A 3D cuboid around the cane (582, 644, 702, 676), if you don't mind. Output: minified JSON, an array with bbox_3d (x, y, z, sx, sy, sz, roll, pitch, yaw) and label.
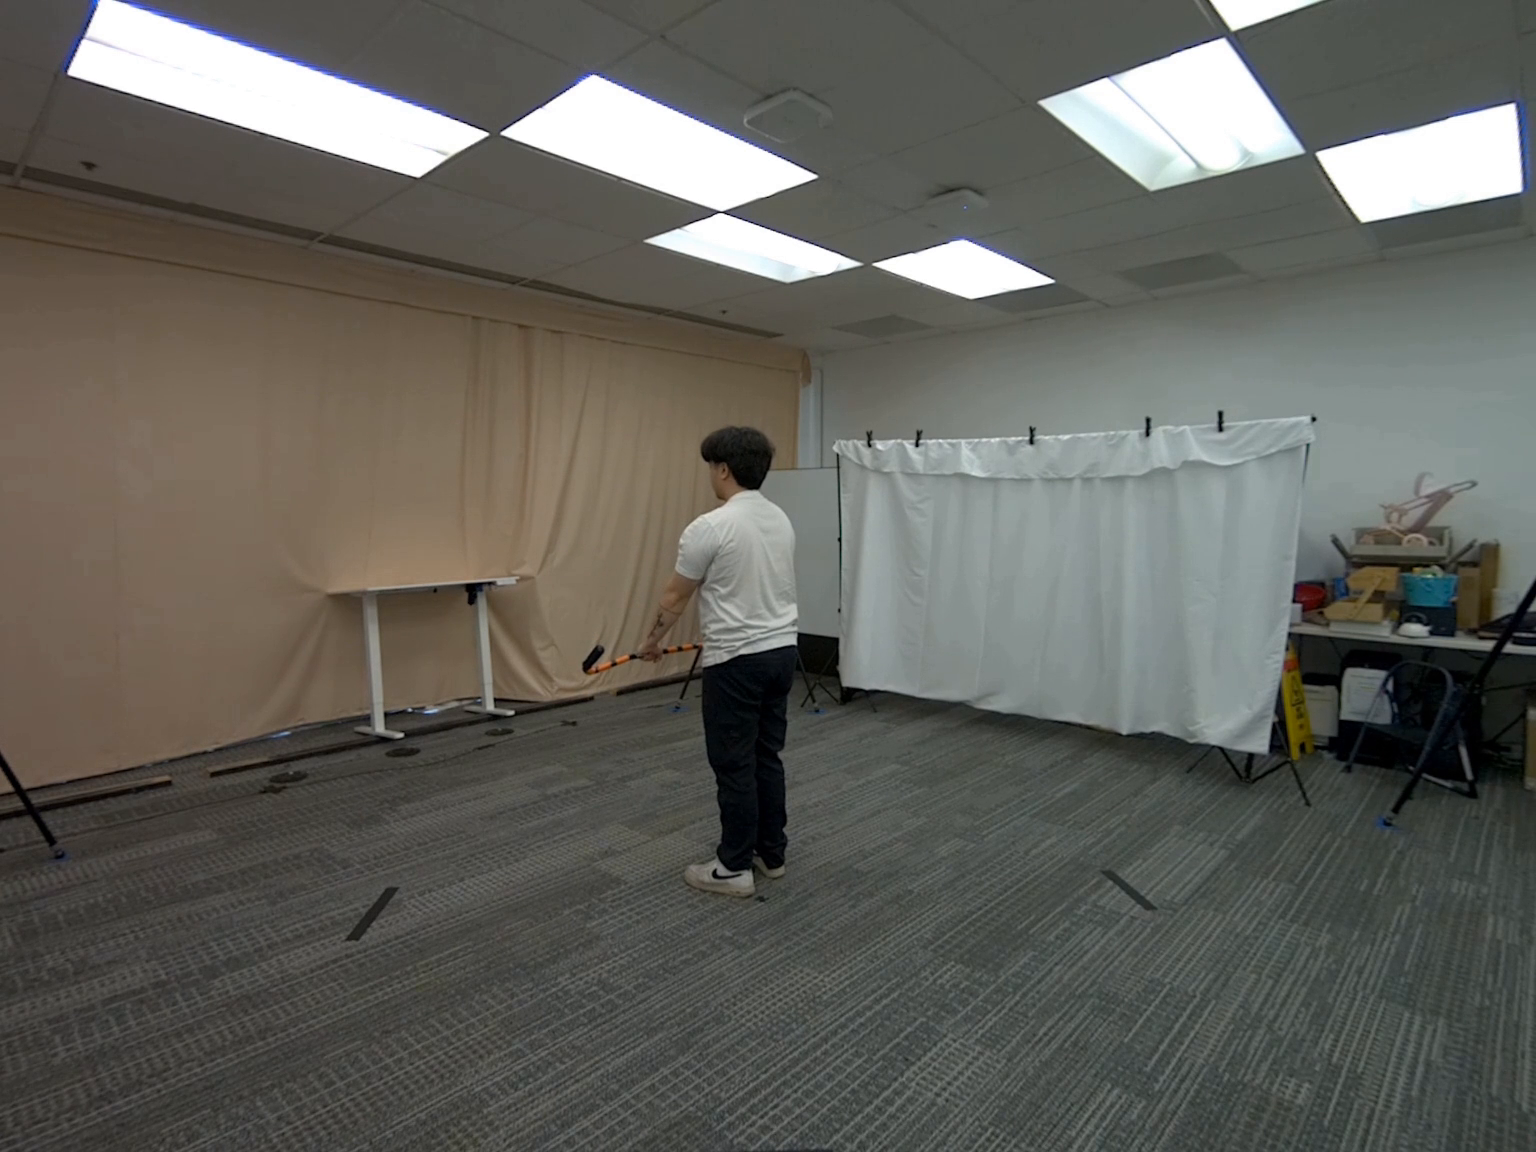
[{"bbox_3d":[-0.363,0.281,3.305,0.881,0.155,0.207,-6,-36,-49],"label":"cane"}]
